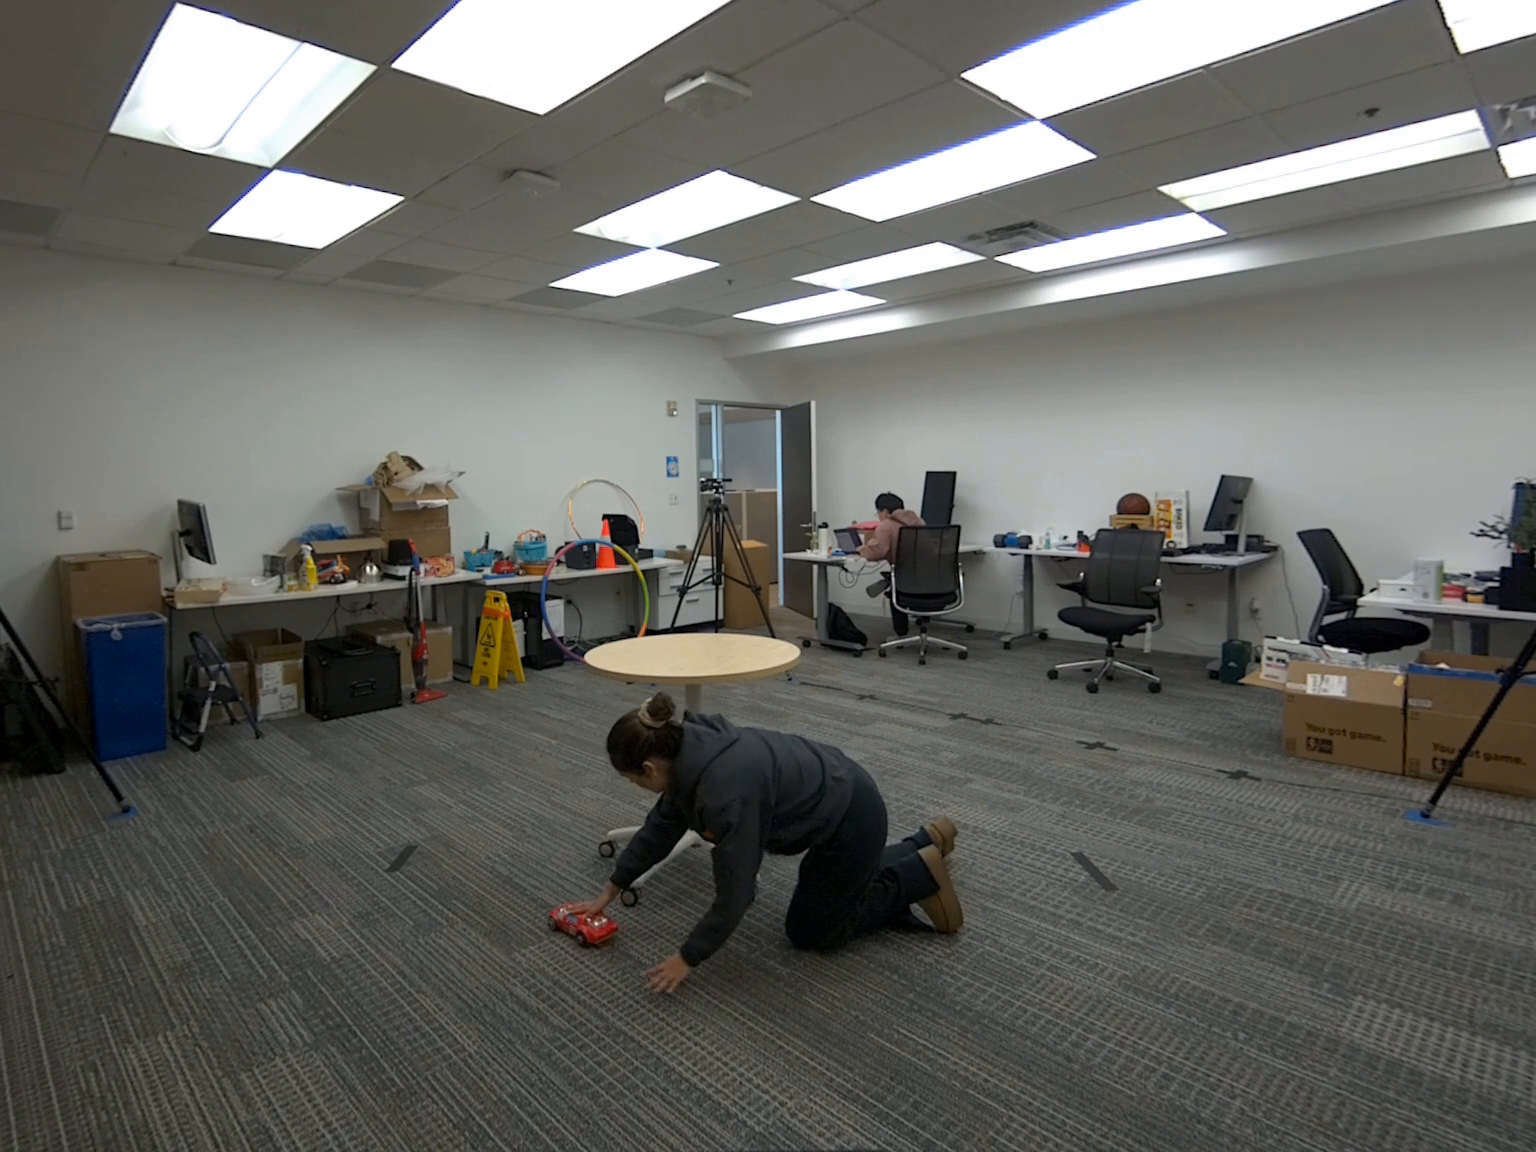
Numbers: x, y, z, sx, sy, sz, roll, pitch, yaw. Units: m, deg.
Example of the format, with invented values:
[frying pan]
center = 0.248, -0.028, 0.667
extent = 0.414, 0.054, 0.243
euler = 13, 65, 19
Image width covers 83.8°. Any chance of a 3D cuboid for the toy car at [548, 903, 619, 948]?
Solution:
[toy car]
center = -0.562, 1.077, 2.637
extent = 0.260, 0.083, 0.127
euler = -9, -1, 42
